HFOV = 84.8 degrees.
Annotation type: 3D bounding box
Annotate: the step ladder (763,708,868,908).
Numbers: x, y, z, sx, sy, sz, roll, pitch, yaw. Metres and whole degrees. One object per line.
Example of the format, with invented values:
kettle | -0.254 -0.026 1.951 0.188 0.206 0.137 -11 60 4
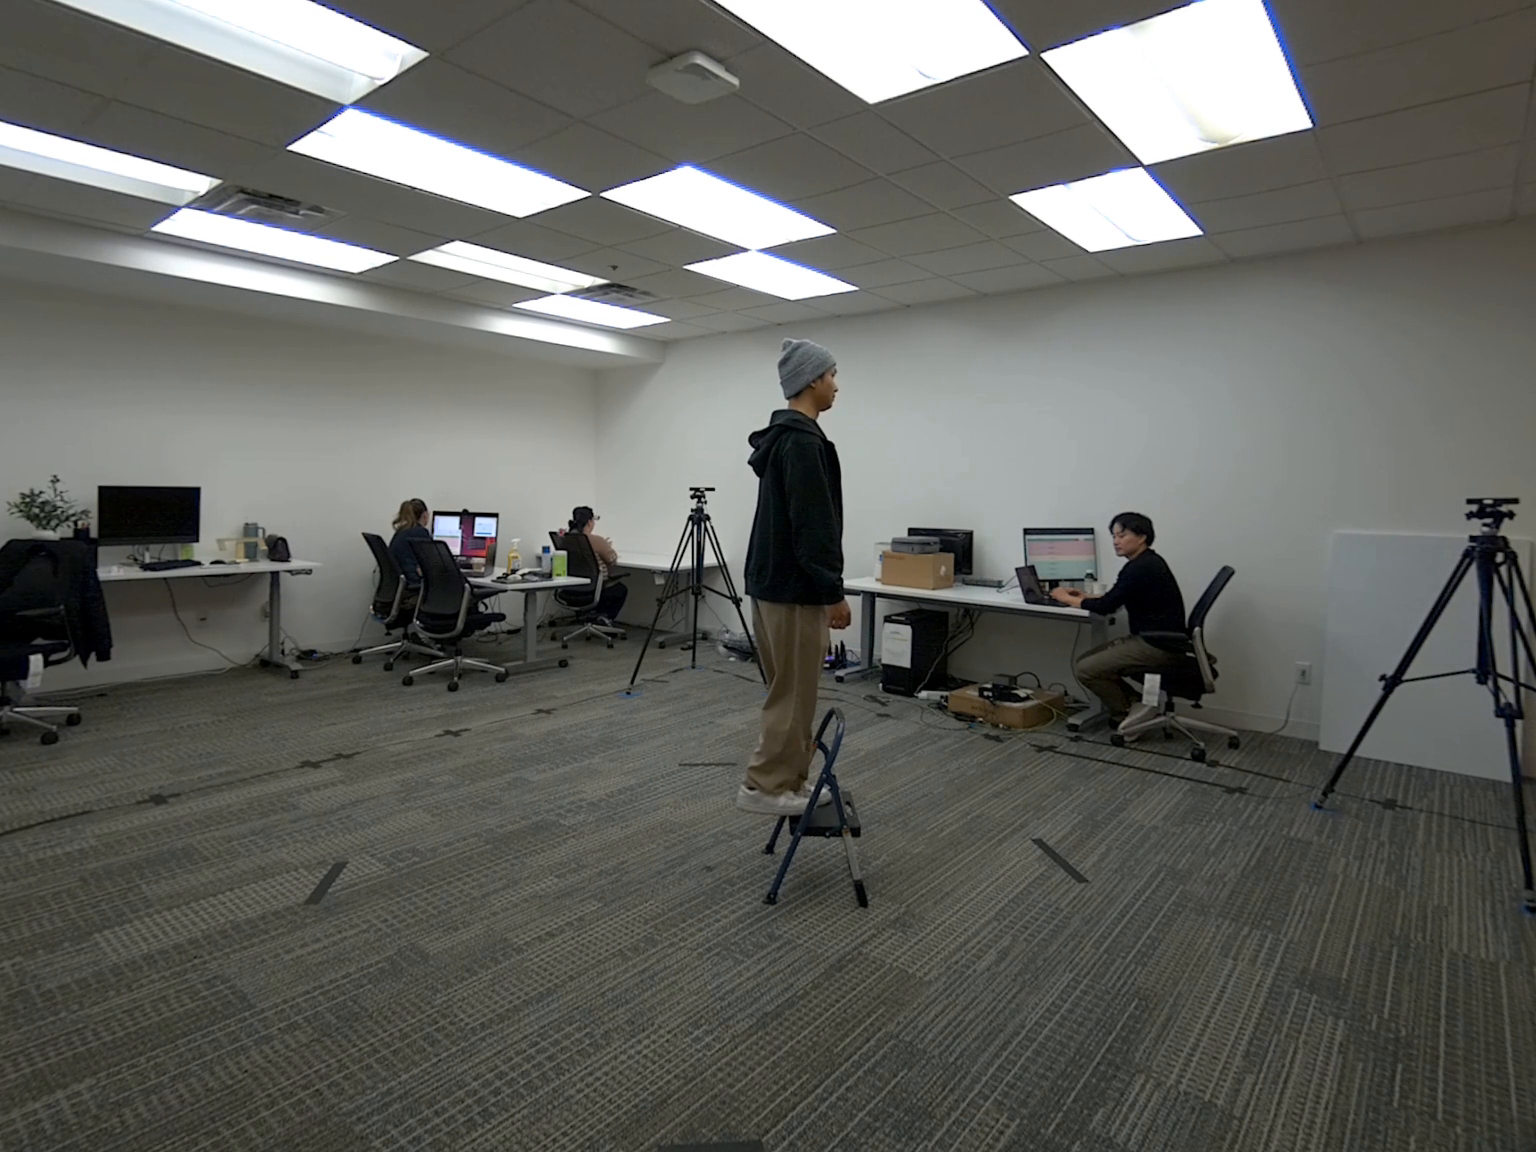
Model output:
step ladder | 0.160 0.783 3.039 0.350 0.604 0.431 1 3 0
